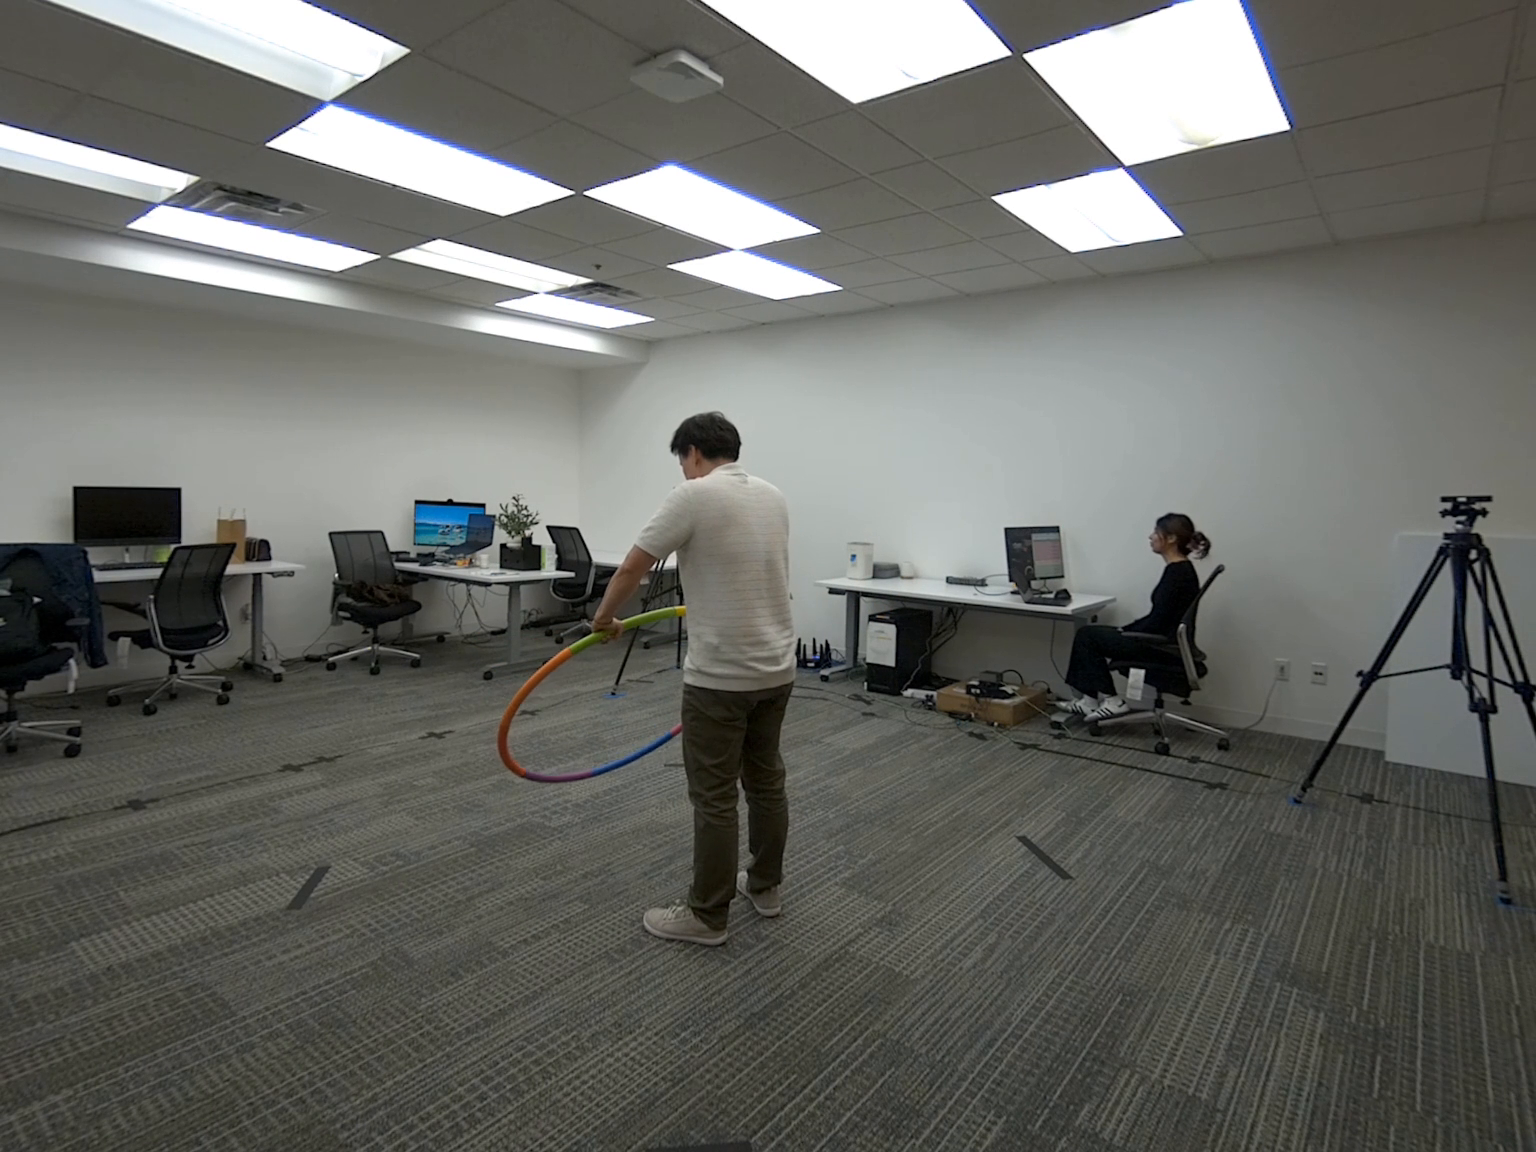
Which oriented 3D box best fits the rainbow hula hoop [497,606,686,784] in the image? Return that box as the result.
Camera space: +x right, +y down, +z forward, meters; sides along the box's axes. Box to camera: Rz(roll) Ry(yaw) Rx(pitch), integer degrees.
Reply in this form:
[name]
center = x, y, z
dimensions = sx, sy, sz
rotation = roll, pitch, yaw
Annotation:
[rainbow hula hoop]
center = -0.544, 0.457, 3.160
dimensions = 0.949, 0.971, 0.037
rotation = -3, 47, -41
